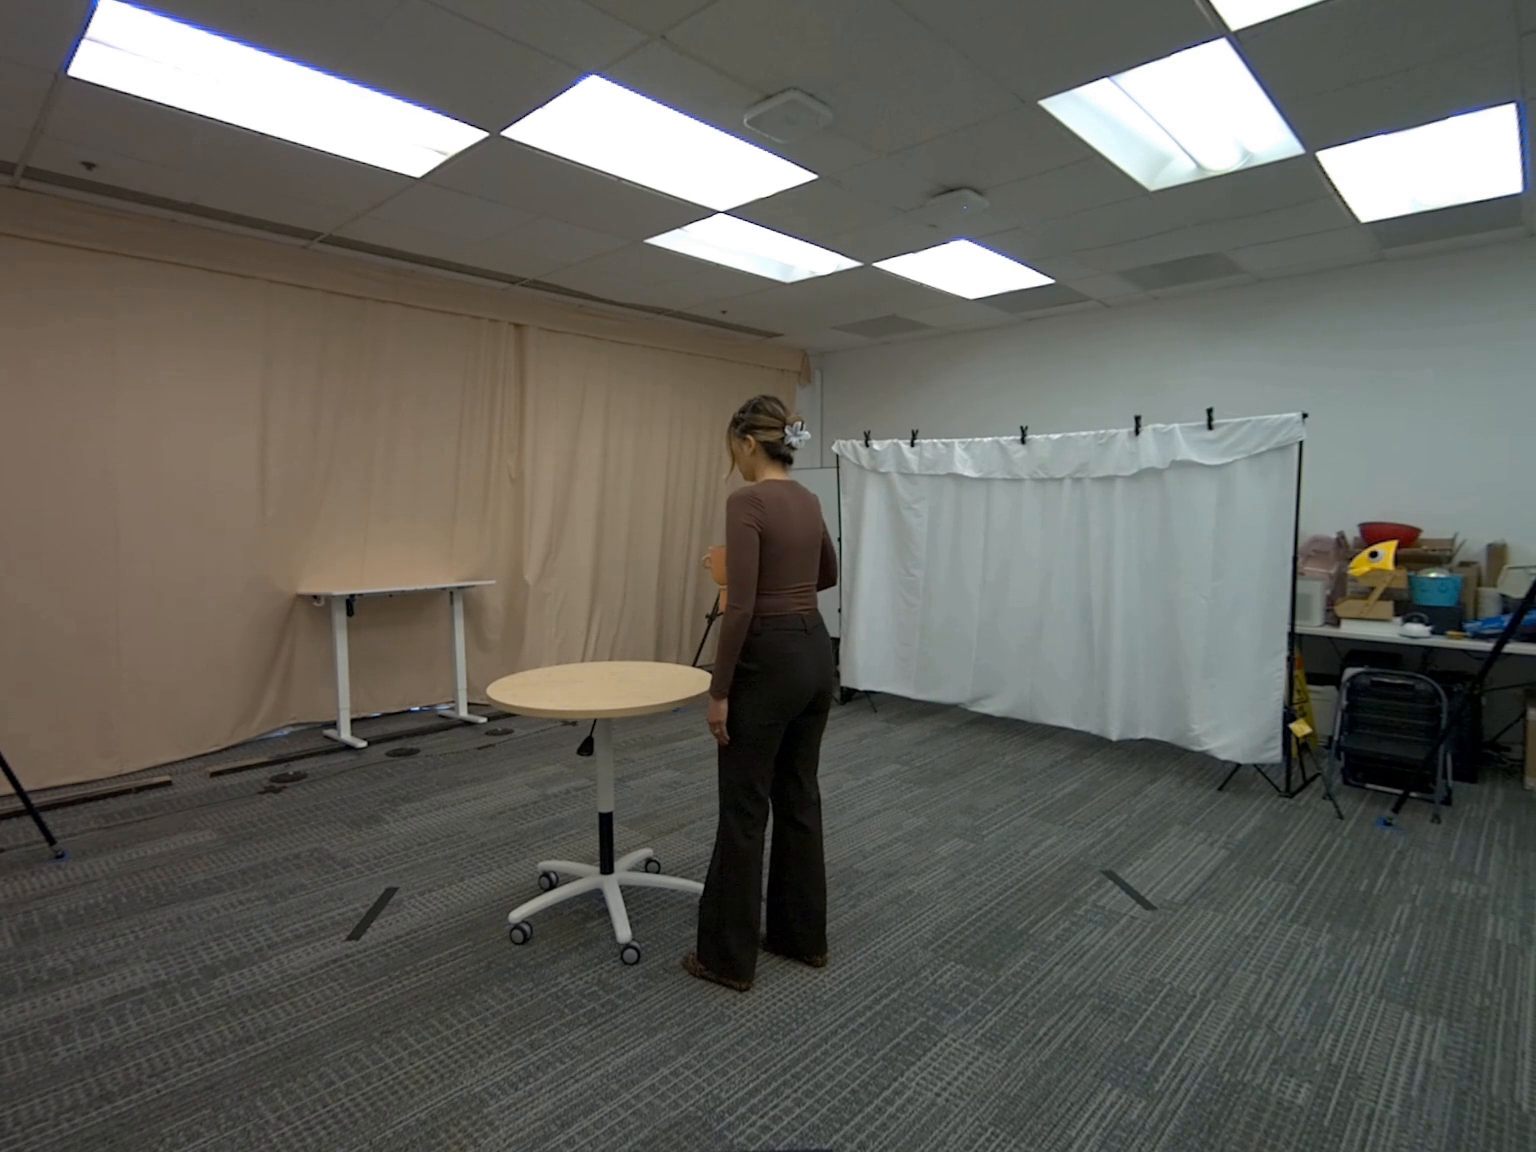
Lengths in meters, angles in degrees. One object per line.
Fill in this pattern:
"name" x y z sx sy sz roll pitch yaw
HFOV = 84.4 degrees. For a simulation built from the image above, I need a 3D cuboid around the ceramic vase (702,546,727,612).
"ceramic vase" -0.124 0.006 2.950 0.162 0.219 0.132 -5 2 23
